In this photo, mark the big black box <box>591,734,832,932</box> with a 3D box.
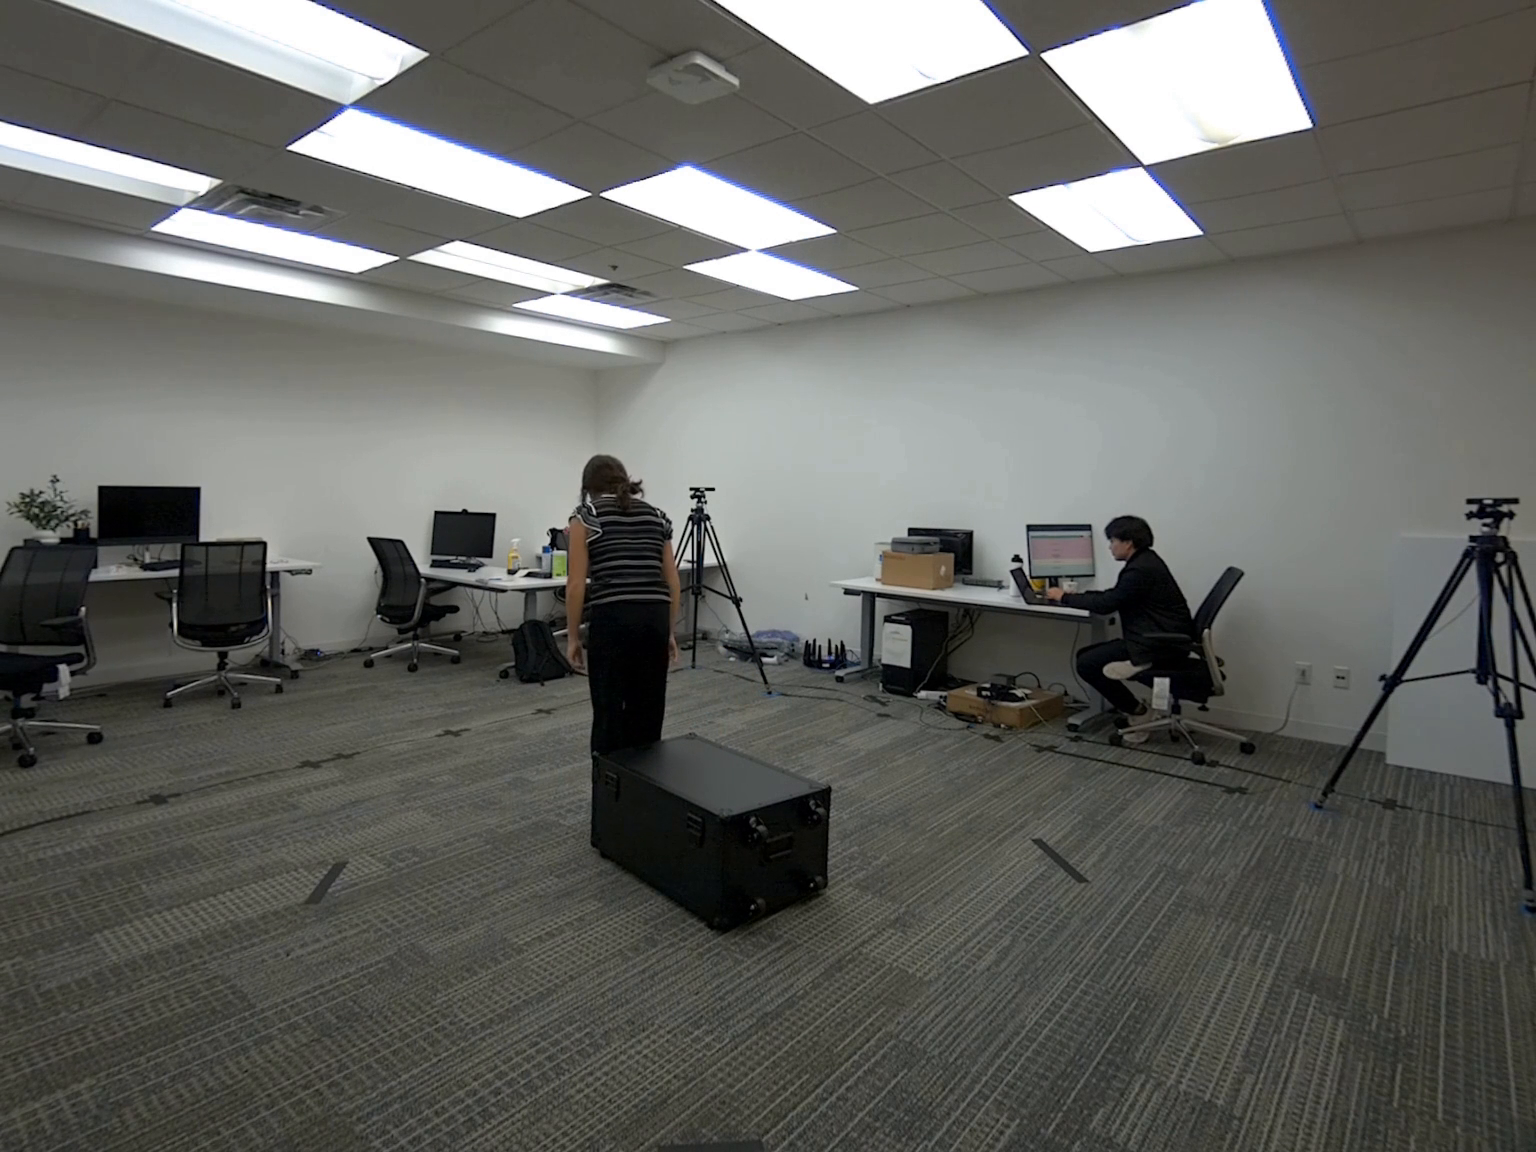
[{"bbox_3d":[-0.217,0.883,3.044,0.505,0.395,0.891,-3,6,-41],"label":"big black box"}]
